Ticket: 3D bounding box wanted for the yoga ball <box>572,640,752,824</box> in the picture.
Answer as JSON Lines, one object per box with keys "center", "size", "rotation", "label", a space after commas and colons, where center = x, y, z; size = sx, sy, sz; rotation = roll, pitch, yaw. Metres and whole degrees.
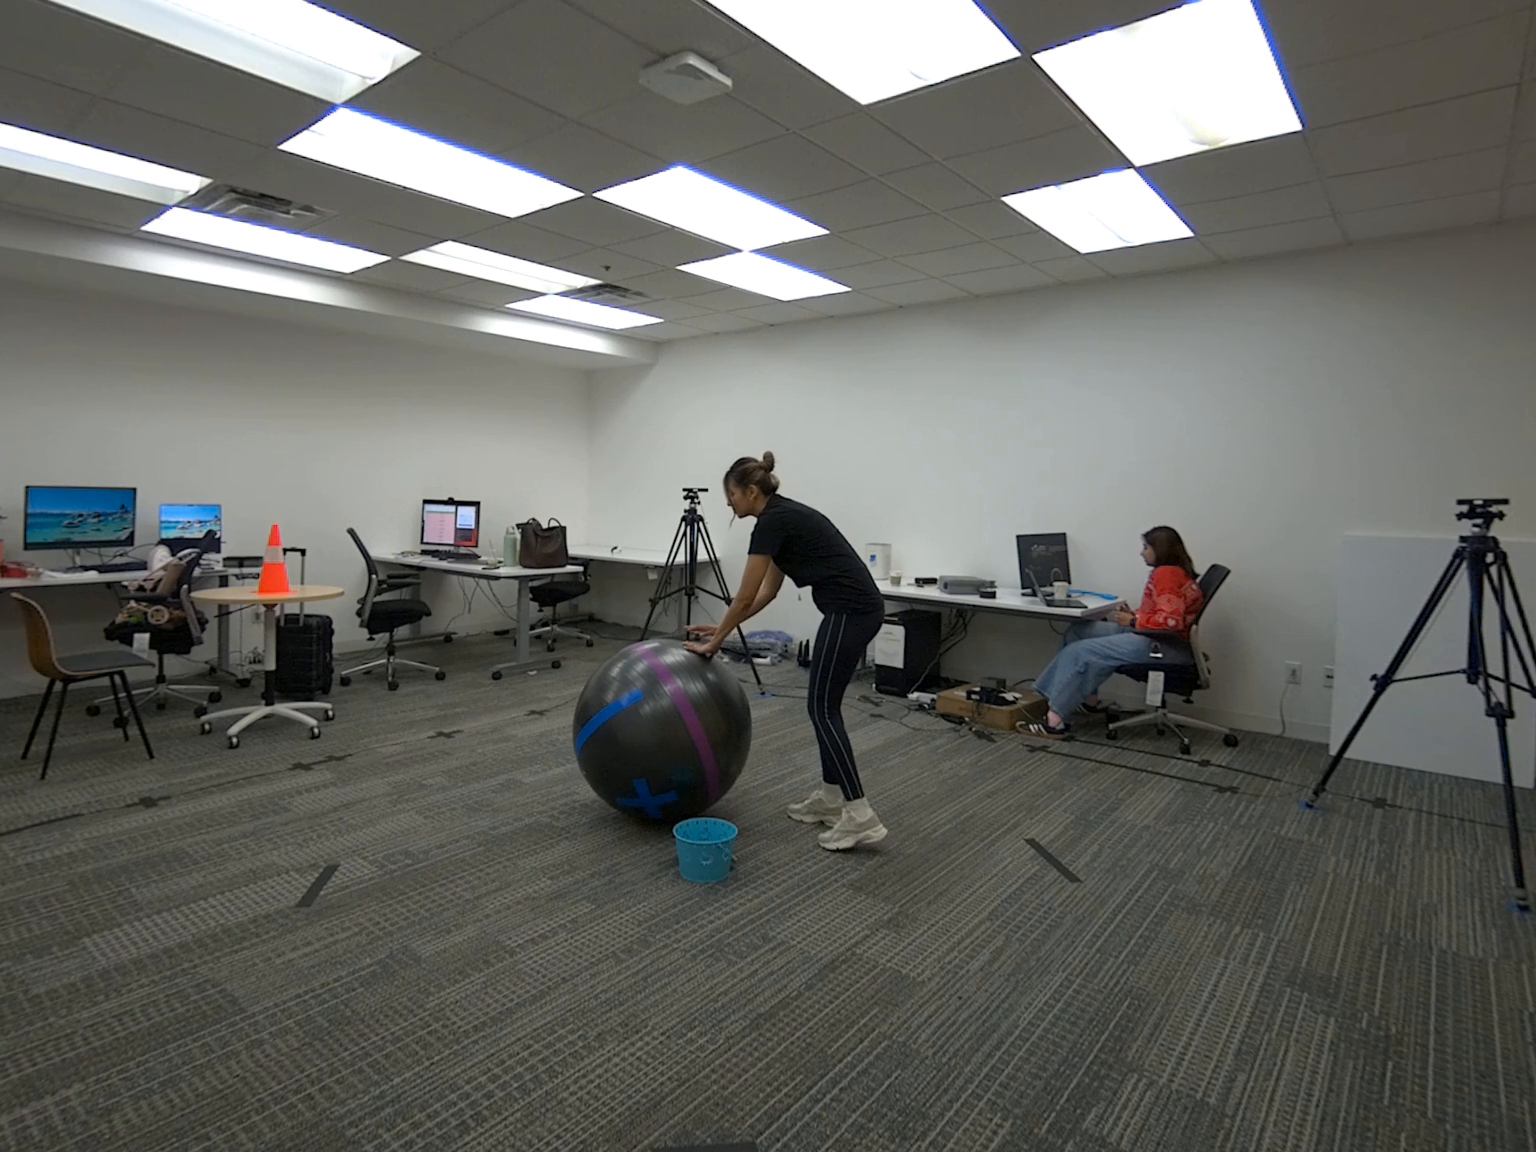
{"center": [-0.459, 0.648, 3.611], "size": [0.757, 0.755, 0.762], "rotation": [1, 4, -2], "label": "yoga ball"}
